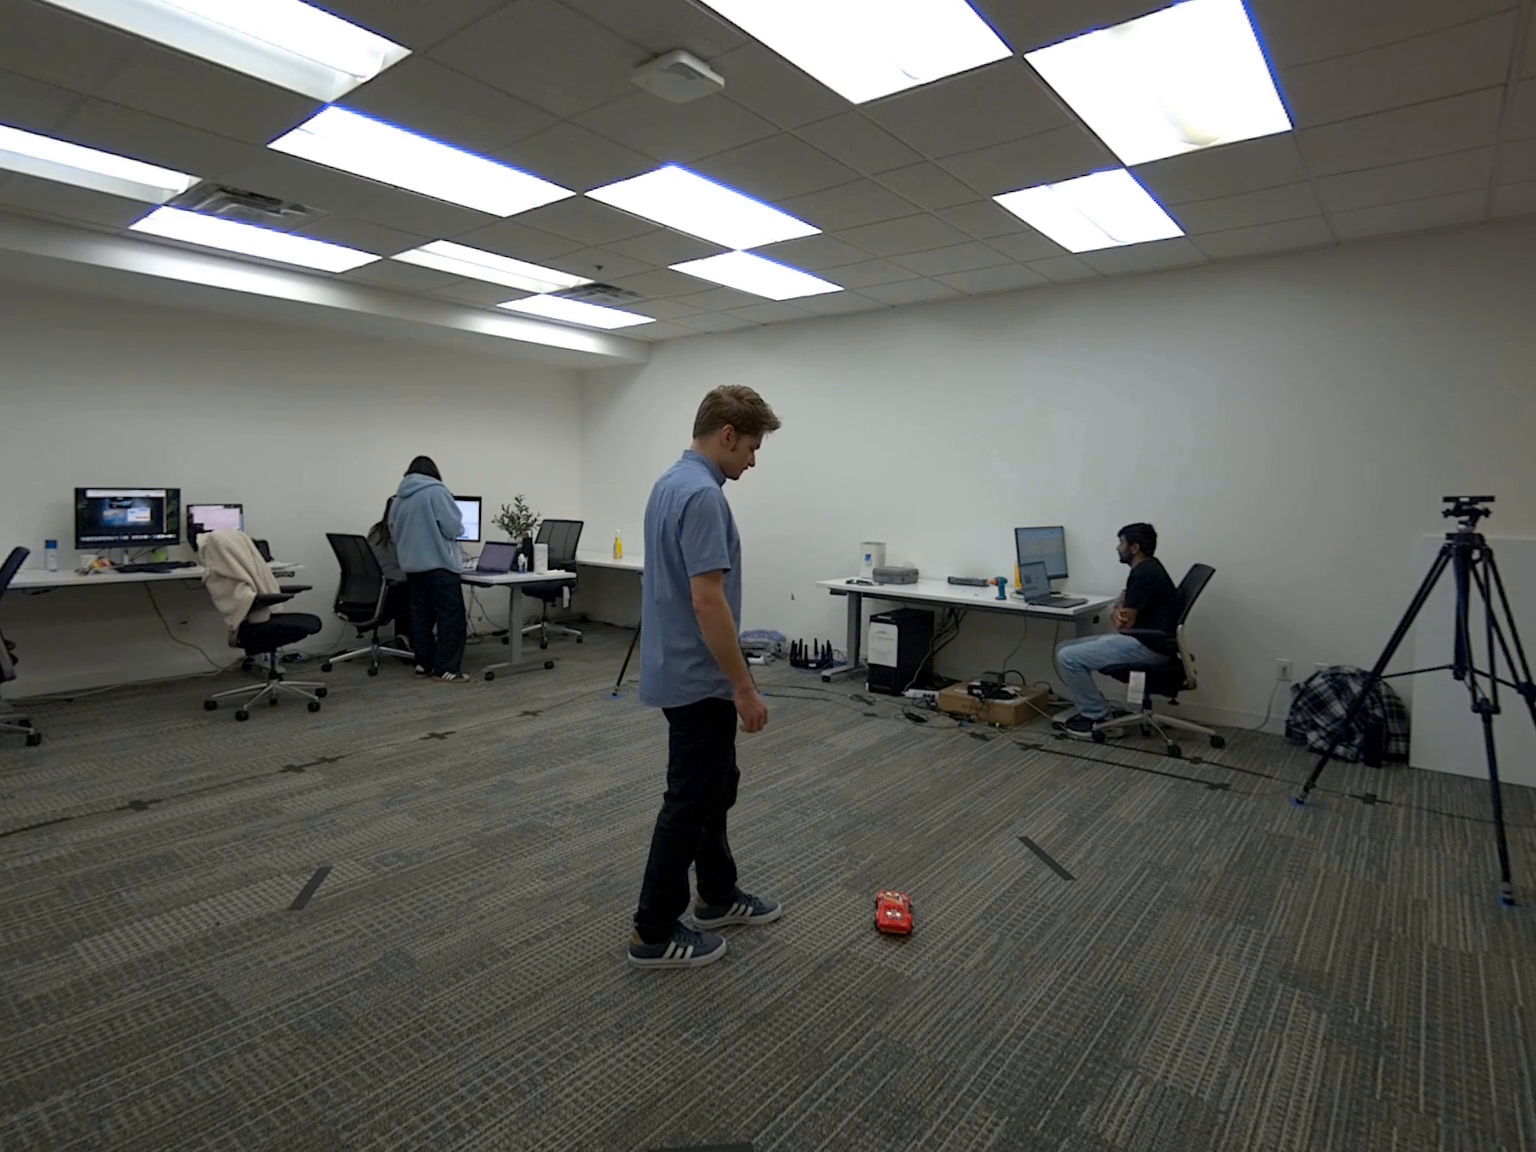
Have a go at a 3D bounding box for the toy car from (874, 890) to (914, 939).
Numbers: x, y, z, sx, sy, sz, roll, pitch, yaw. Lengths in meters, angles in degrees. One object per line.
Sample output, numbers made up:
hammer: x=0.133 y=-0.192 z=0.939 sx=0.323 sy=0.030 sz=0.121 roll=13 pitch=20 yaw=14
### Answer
toy car: x=0.403 y=1.088 z=2.742 sx=0.132 sy=0.084 sz=0.250 roll=2 pitch=-5 yaw=8
